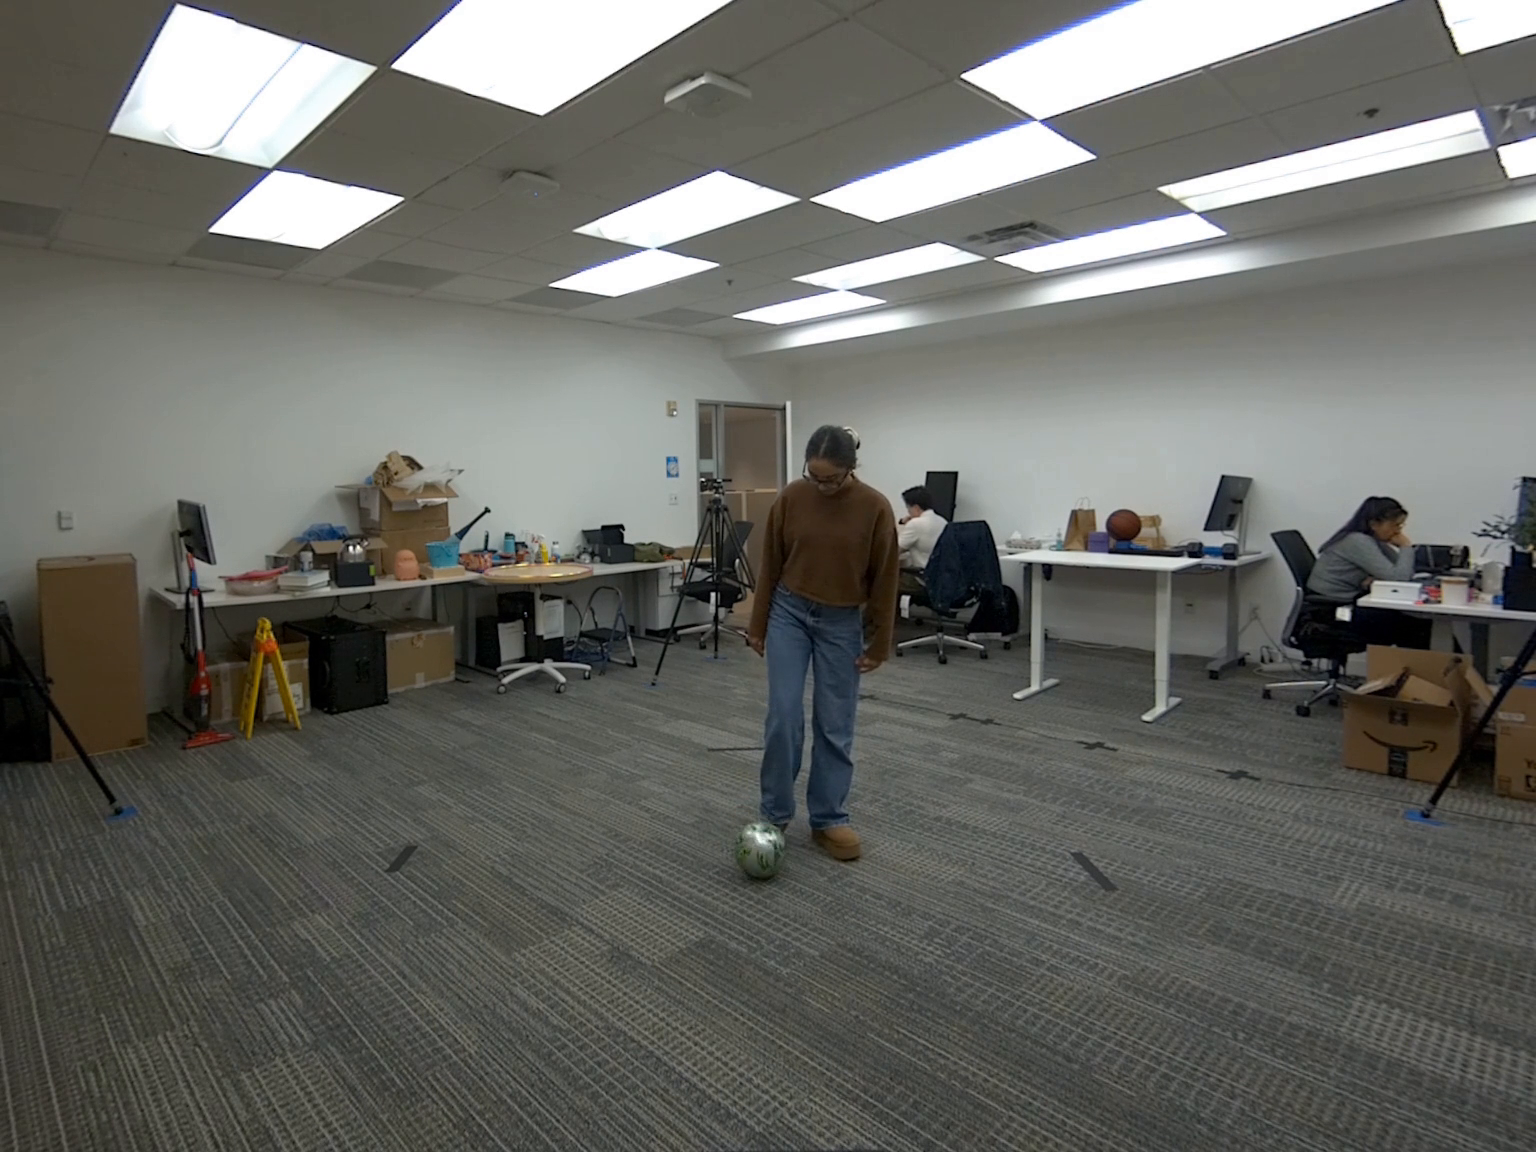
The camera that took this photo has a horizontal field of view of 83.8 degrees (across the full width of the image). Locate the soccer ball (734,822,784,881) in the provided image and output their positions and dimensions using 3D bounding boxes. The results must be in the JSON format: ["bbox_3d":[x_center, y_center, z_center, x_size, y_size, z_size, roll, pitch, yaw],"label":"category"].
[{"bbox_3d":[-0.024,0.961,3.005,0.187,0.187,0.188,-1,5,-2],"label":"soccer ball"}]
